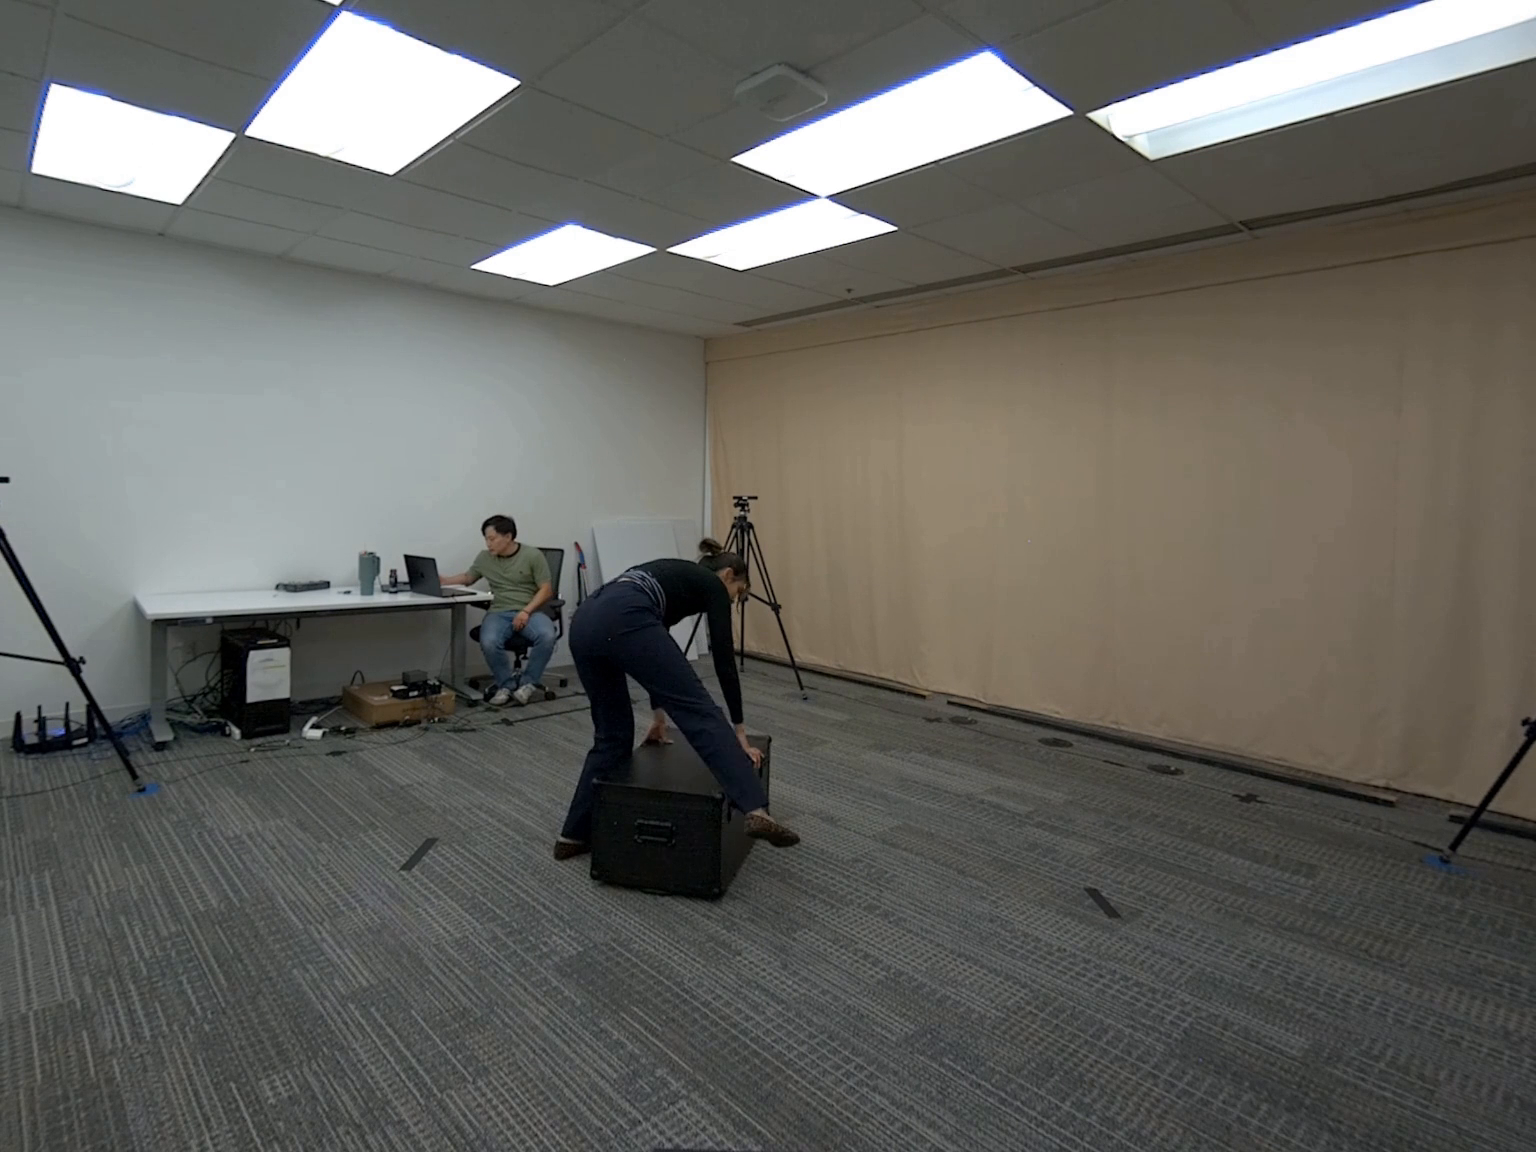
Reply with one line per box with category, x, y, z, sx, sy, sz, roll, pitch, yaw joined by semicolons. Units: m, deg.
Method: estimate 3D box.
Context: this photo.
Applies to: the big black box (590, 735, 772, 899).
big black box;-0.302;0.888;3.326;0.527;0.395;0.854;2;6;13
